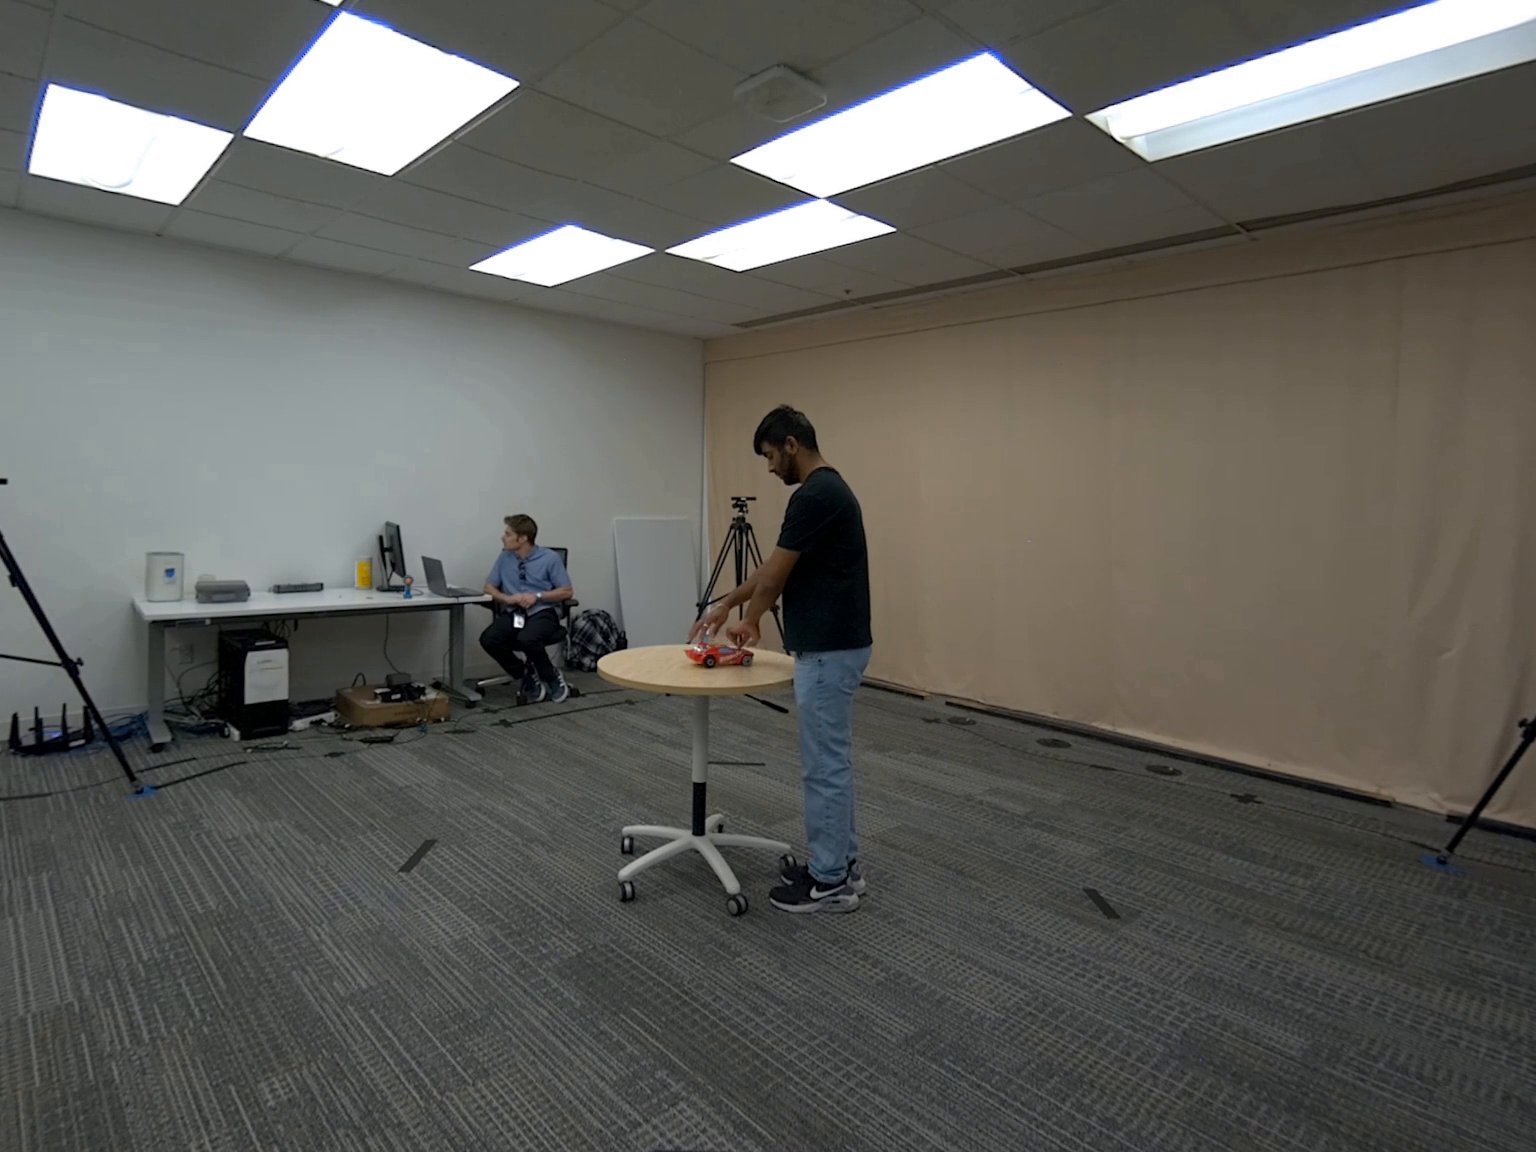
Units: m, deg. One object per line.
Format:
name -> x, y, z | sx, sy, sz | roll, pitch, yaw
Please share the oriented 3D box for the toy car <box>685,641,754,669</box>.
toy car -> -0.187, 0.293, 3.074 | 0.250, 0.083, 0.133 | 12, 0, -22
